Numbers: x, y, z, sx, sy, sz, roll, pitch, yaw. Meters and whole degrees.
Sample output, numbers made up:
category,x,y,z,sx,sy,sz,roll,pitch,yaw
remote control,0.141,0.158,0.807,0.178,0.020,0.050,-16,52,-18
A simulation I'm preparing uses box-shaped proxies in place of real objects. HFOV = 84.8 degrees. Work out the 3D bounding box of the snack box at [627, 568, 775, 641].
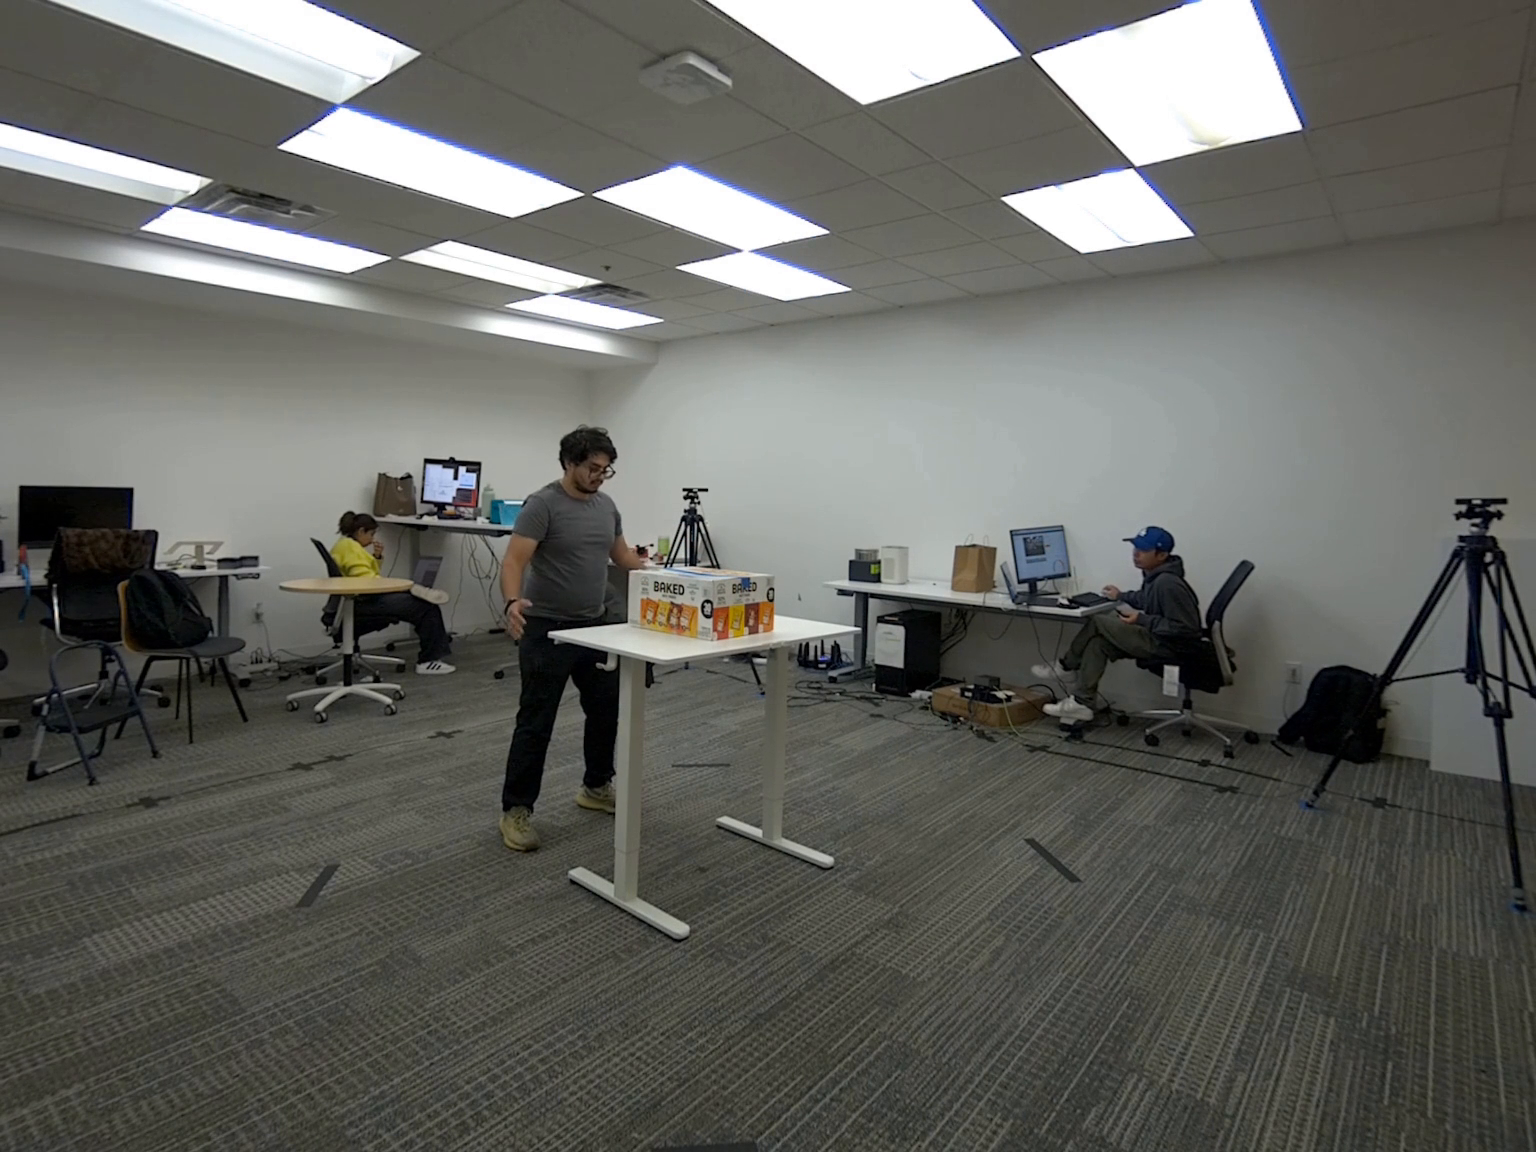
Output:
category,x,y,z,sx,sy,sz,roll,pitch,yaw
snack box,-0.253,0.087,3.071,0.419,0.205,0.330,5,6,39
